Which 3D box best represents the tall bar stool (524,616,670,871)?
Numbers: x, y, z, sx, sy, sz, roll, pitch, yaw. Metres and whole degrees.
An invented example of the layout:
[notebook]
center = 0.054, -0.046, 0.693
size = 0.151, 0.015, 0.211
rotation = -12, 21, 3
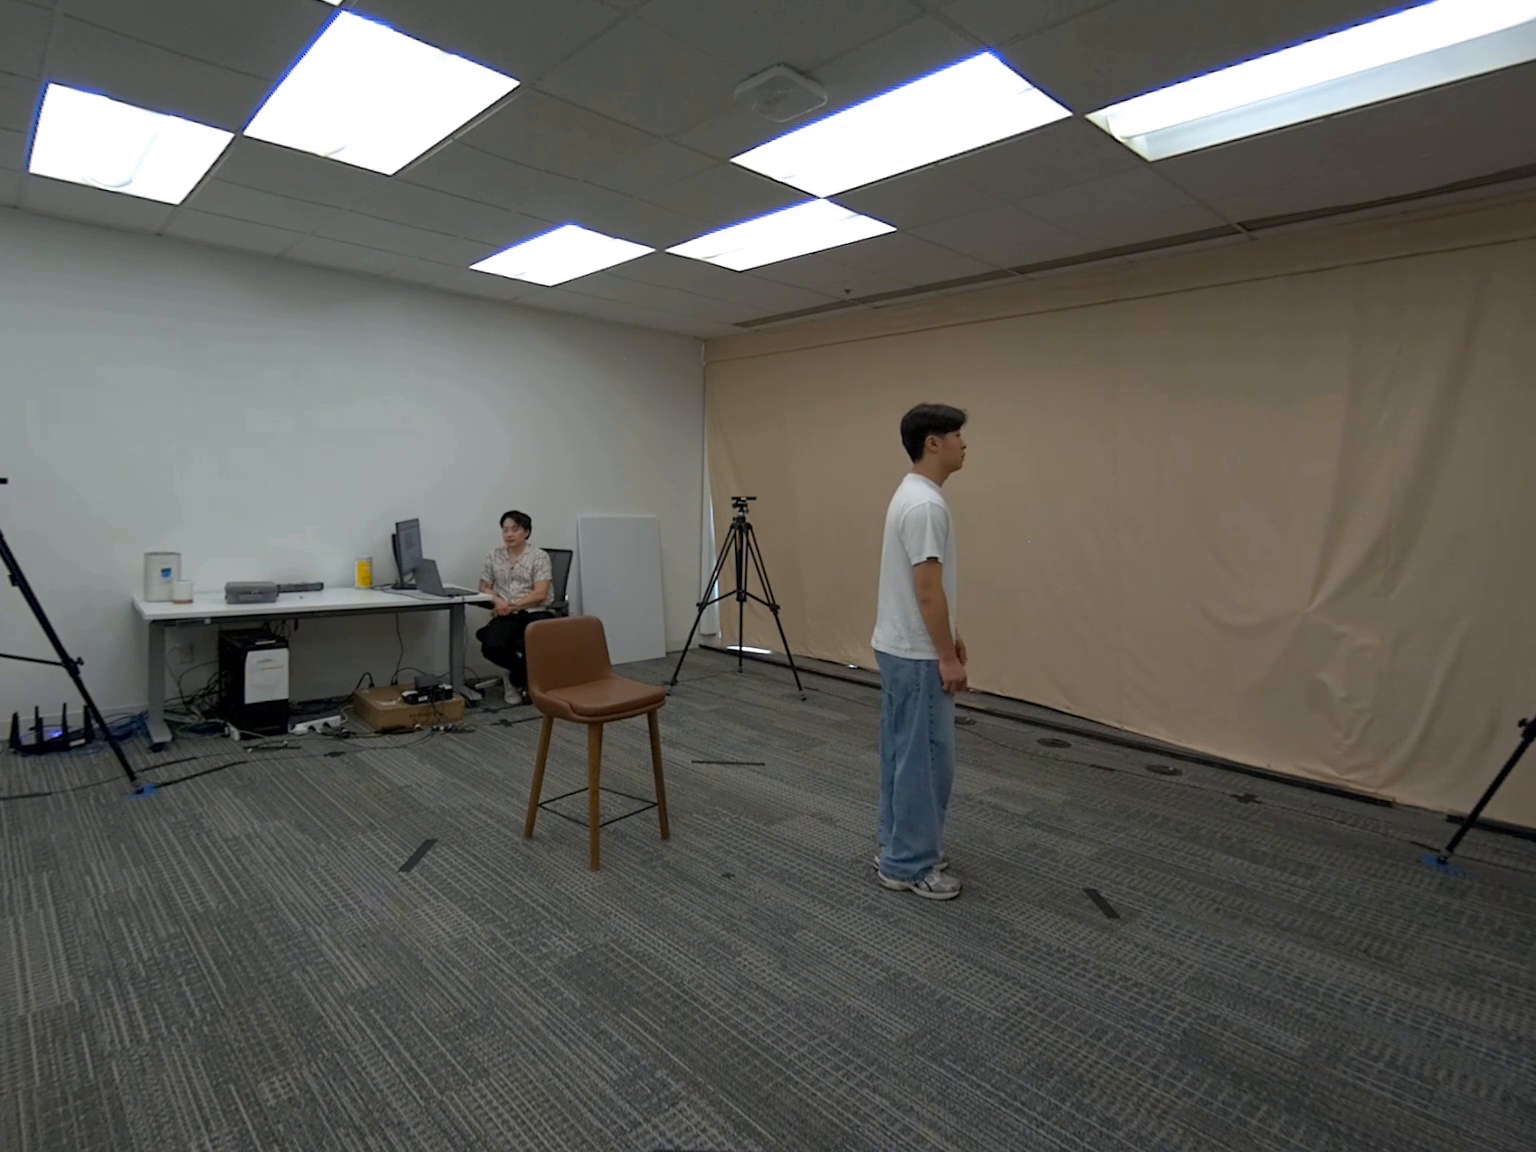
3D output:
[tall bar stool]
center = -0.695, 0.631, 3.394
size = 0.479, 0.889, 0.446
rotation = 1, 2, 39
